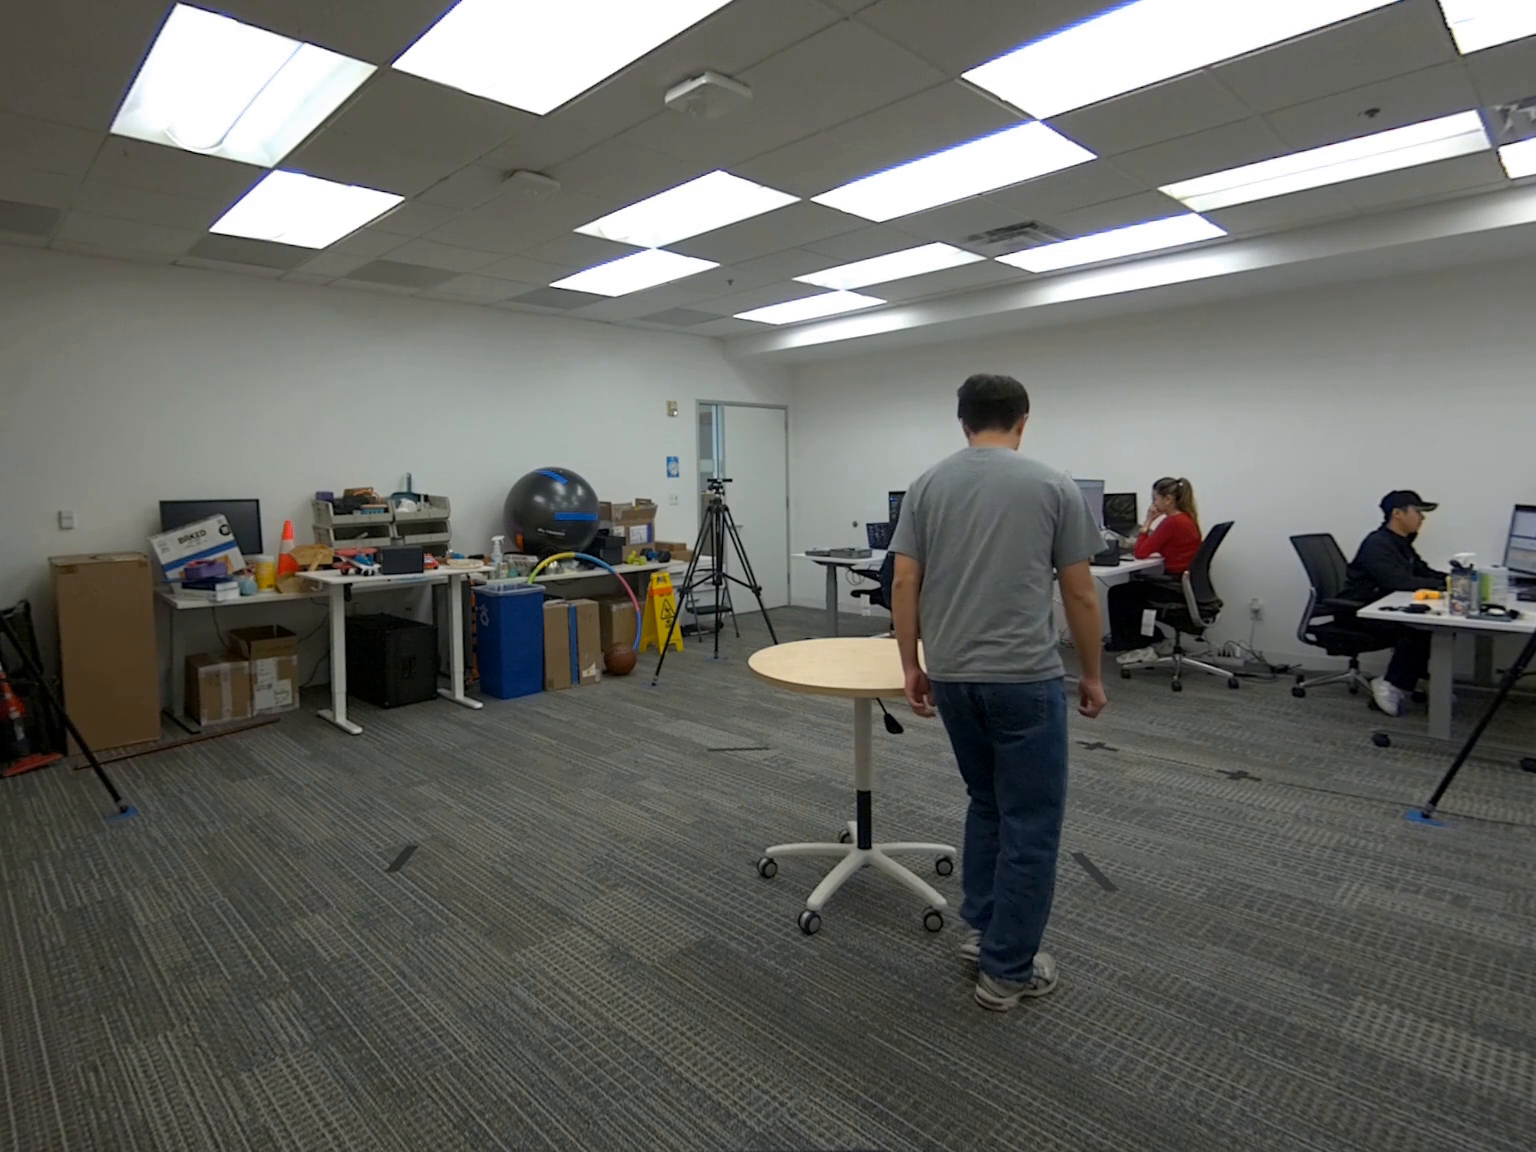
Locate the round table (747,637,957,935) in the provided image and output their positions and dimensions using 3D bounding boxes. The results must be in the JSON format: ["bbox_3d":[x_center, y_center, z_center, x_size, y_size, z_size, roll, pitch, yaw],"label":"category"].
[{"bbox_3d":[0.325,0.673,2.888,0.763,0.790,0.768,-1,5,-2],"label":"round table"}]
